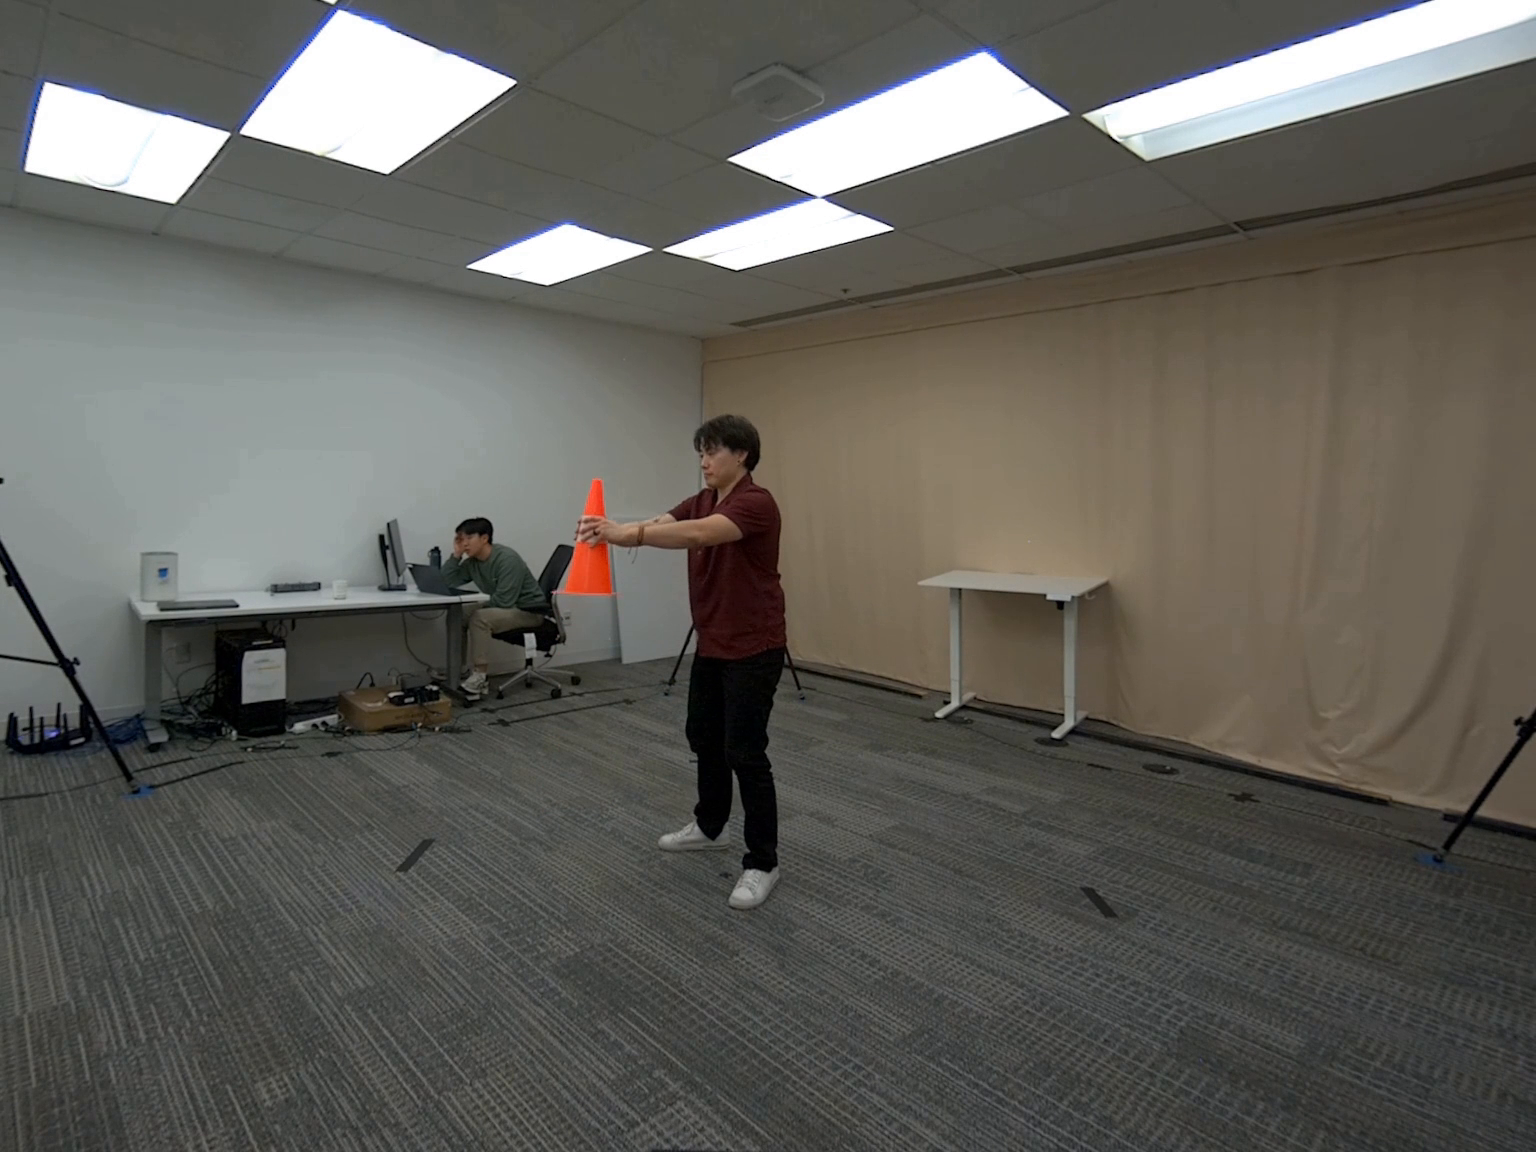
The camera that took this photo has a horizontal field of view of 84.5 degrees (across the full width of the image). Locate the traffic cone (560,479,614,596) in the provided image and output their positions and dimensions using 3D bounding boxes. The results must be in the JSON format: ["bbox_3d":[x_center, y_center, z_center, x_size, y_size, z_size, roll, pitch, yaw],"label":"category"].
[{"bbox_3d":[-0.600,-0.126,2.806,0.206,0.384,0.202,4,0,4],"label":"traffic cone"}]
